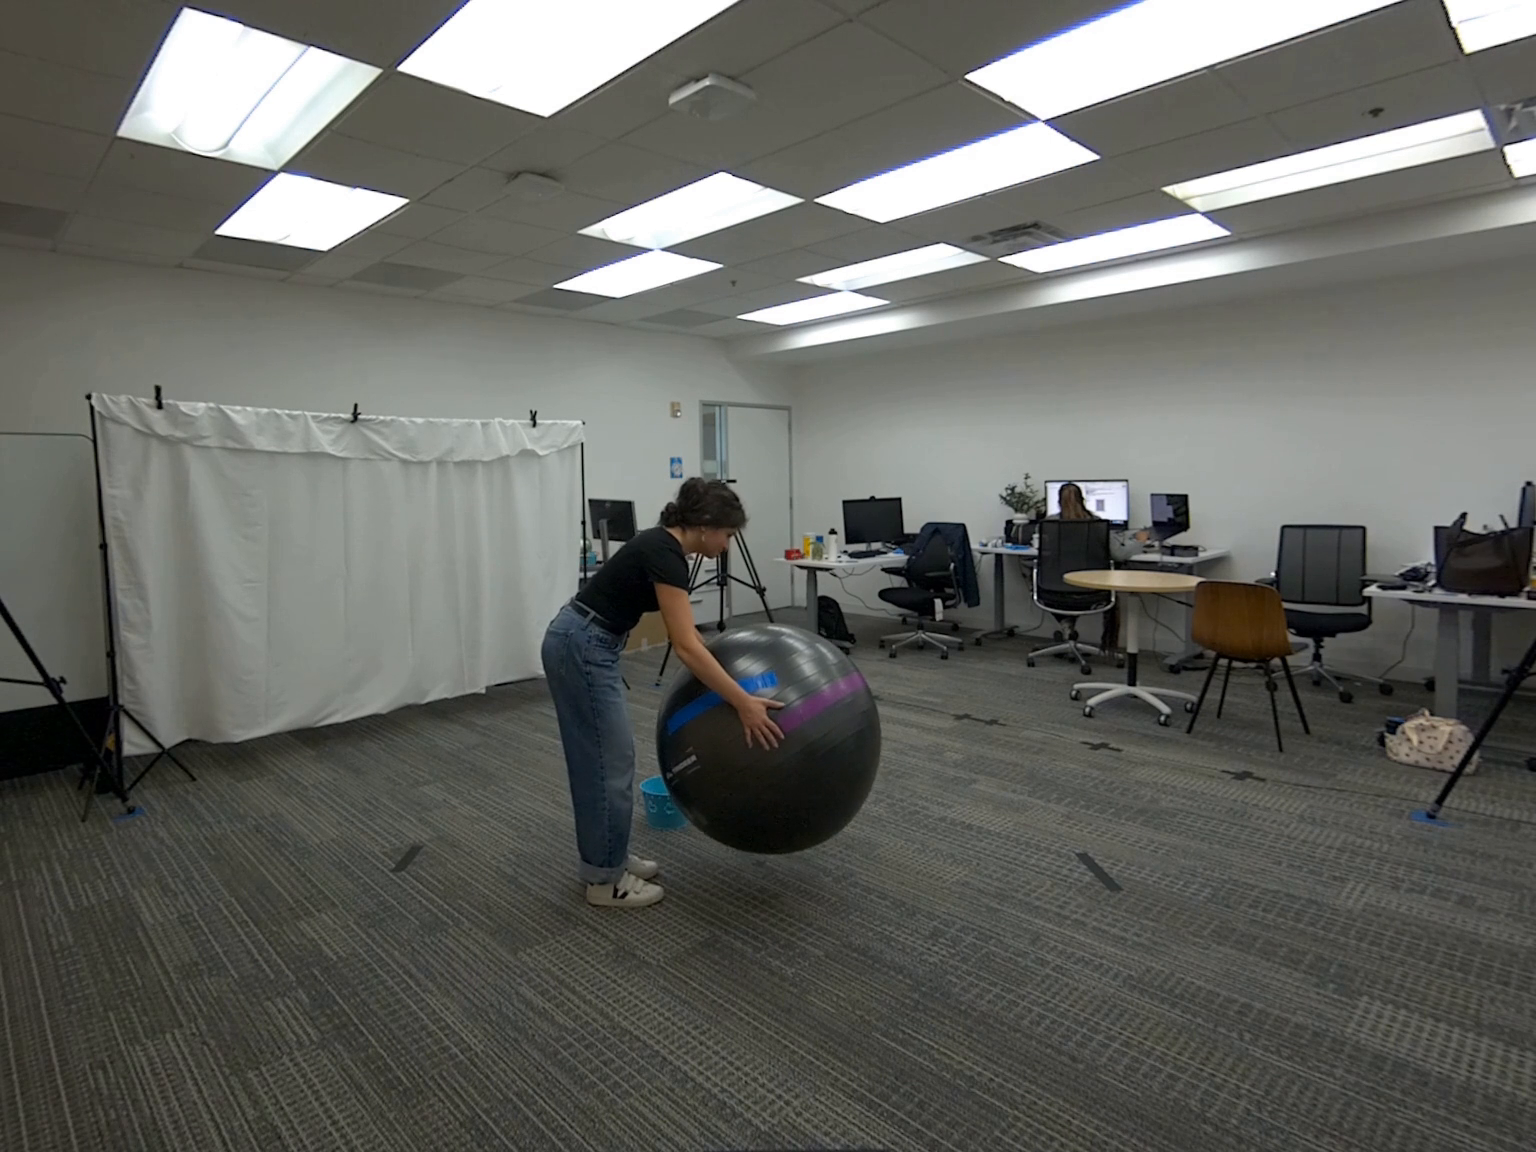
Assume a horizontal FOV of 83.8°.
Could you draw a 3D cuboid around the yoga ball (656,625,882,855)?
[{"bbox_3d":[0.010,0.557,2.894,0.757,0.755,0.762,-1,5,-2],"label":"yoga ball"}]
